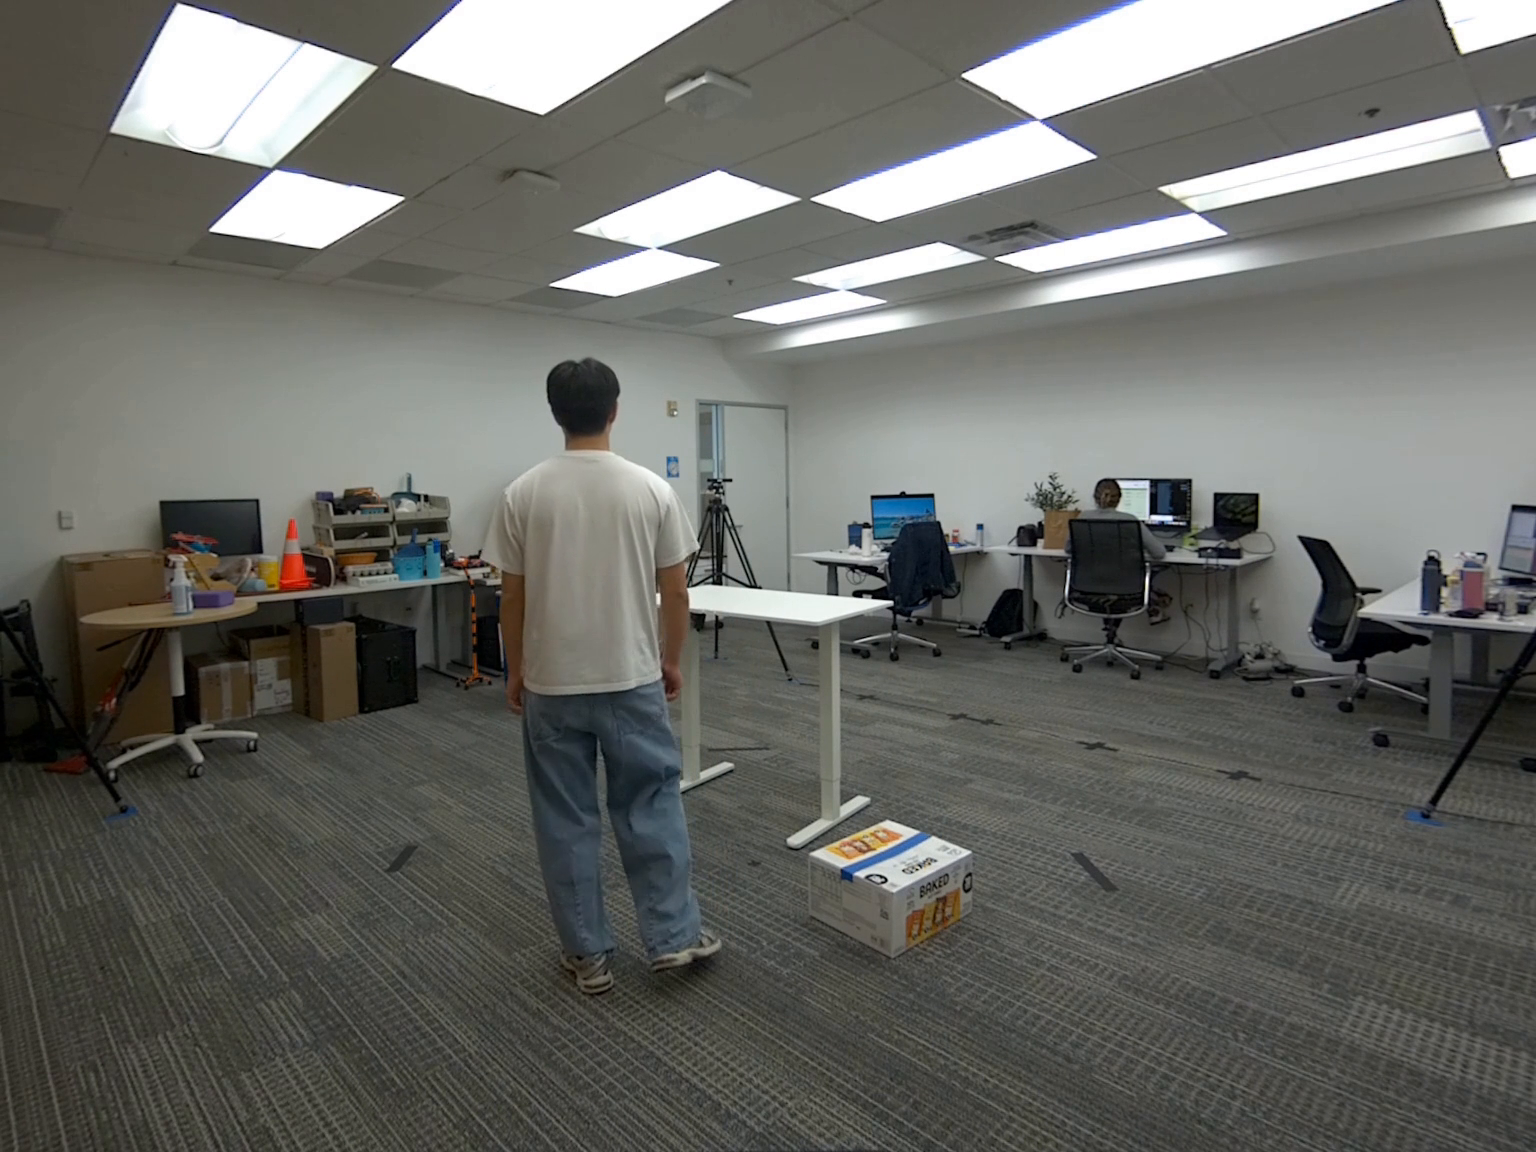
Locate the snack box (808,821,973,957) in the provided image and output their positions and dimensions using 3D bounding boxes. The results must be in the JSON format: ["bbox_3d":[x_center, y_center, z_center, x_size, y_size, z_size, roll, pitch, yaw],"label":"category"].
[{"bbox_3d":[0.394,0.980,2.719,0.394,0.205,0.351,-6,8,-42],"label":"snack box"}]
